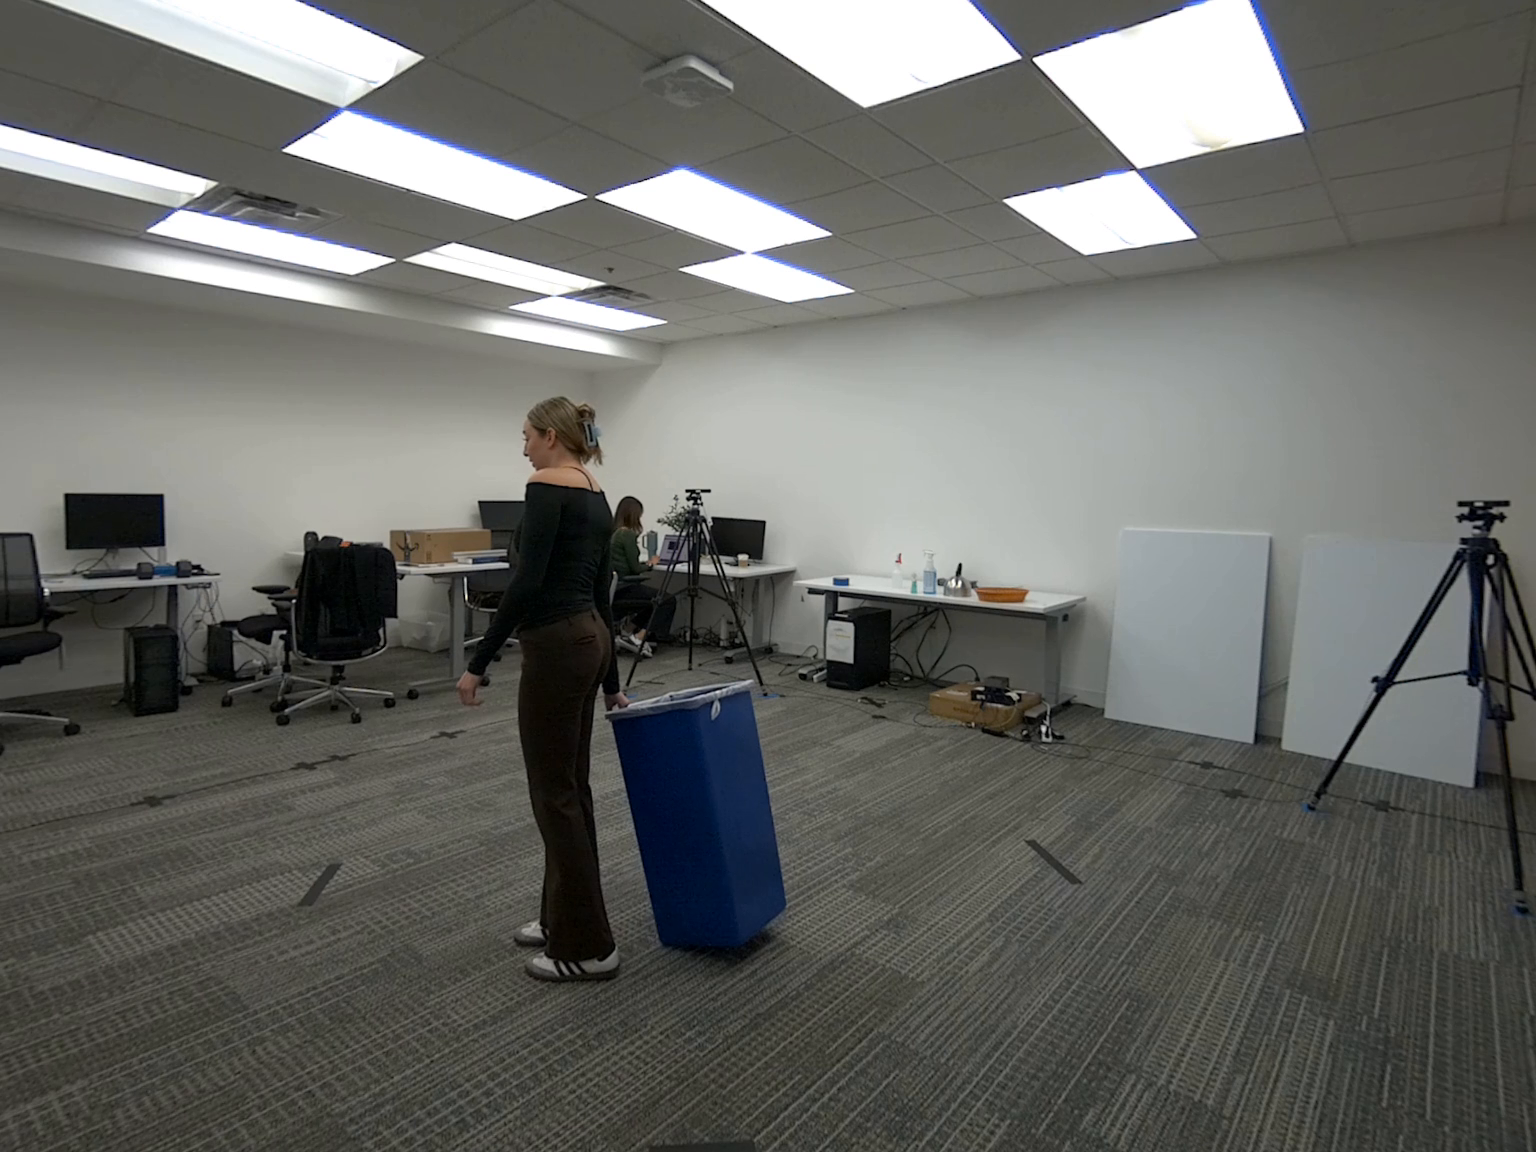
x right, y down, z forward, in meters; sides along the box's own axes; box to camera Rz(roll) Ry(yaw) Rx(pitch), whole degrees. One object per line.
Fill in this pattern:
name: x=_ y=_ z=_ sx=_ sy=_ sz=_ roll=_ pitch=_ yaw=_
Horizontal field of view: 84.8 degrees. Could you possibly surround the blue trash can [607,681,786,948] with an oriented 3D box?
blue trash can: x=-0.221 y=0.732 z=2.681 sx=0.382 sy=0.719 sz=0.367 roll=-14 pitch=-7 yaw=31
